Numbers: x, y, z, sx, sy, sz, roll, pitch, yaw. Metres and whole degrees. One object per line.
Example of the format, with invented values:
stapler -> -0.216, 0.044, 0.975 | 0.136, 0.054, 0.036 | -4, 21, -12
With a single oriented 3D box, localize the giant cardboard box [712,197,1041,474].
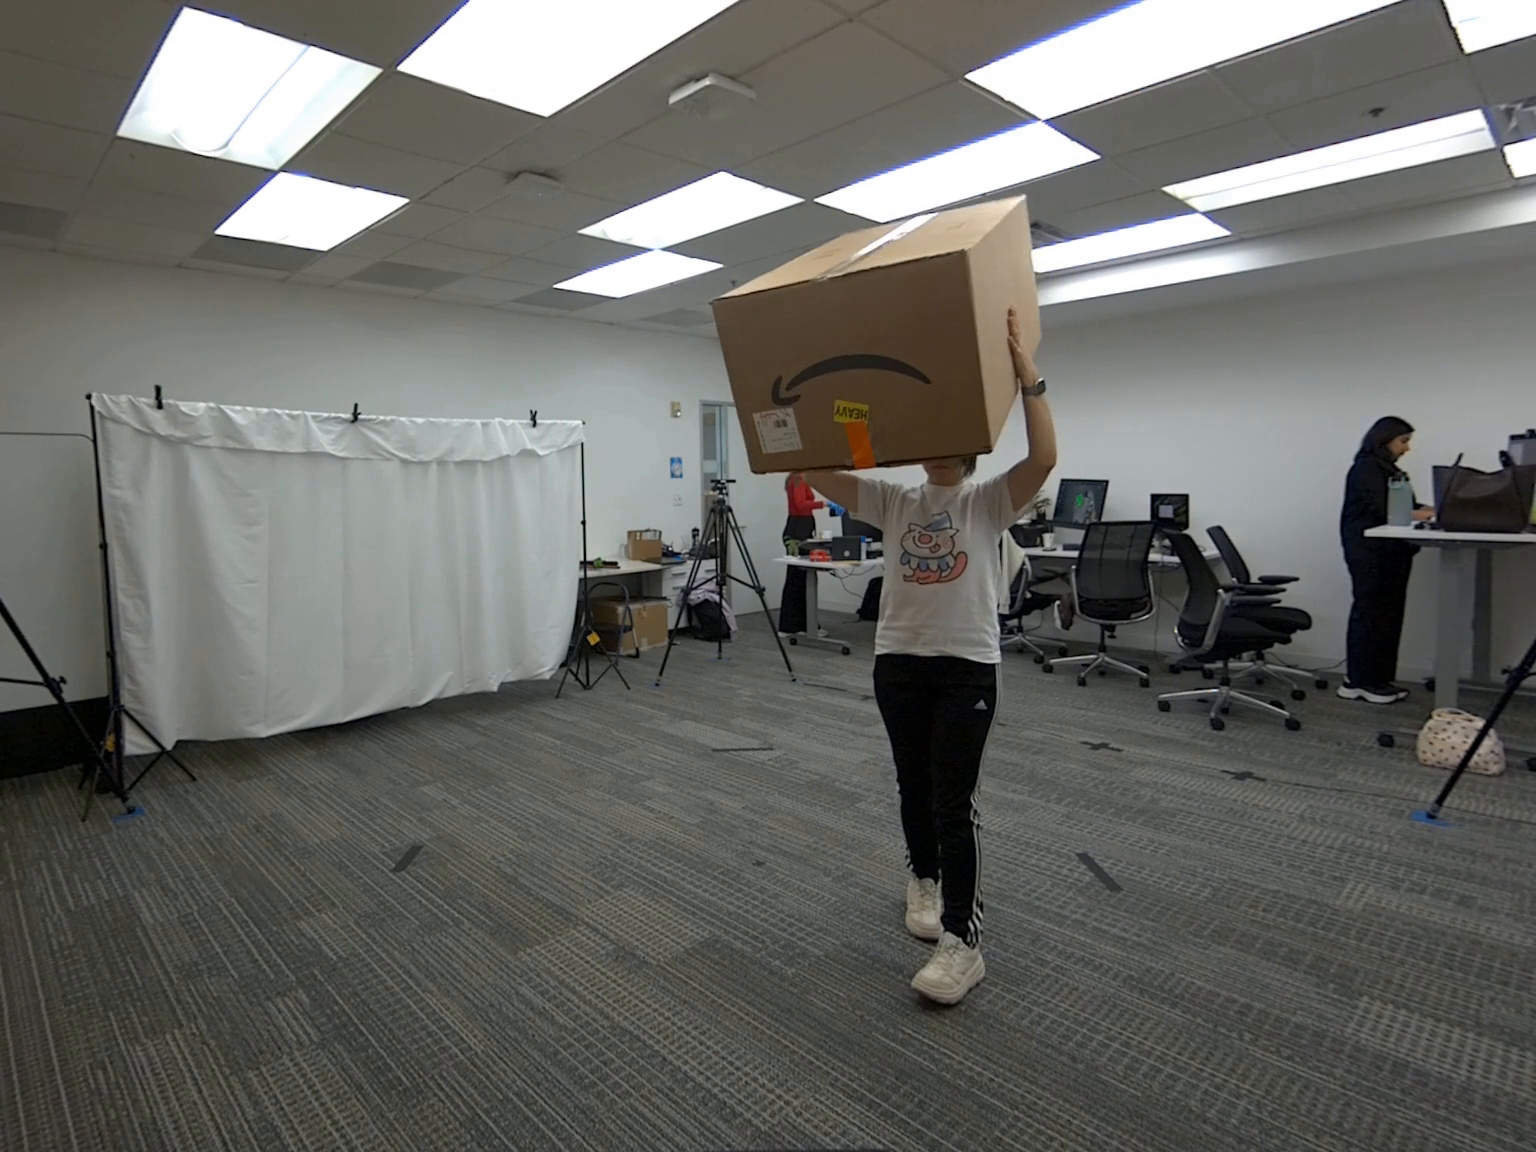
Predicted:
giant cardboard box -> 0.359, -0.672, 2.273 | 0.597, 0.436, 1.029 | -2, 27, 25
